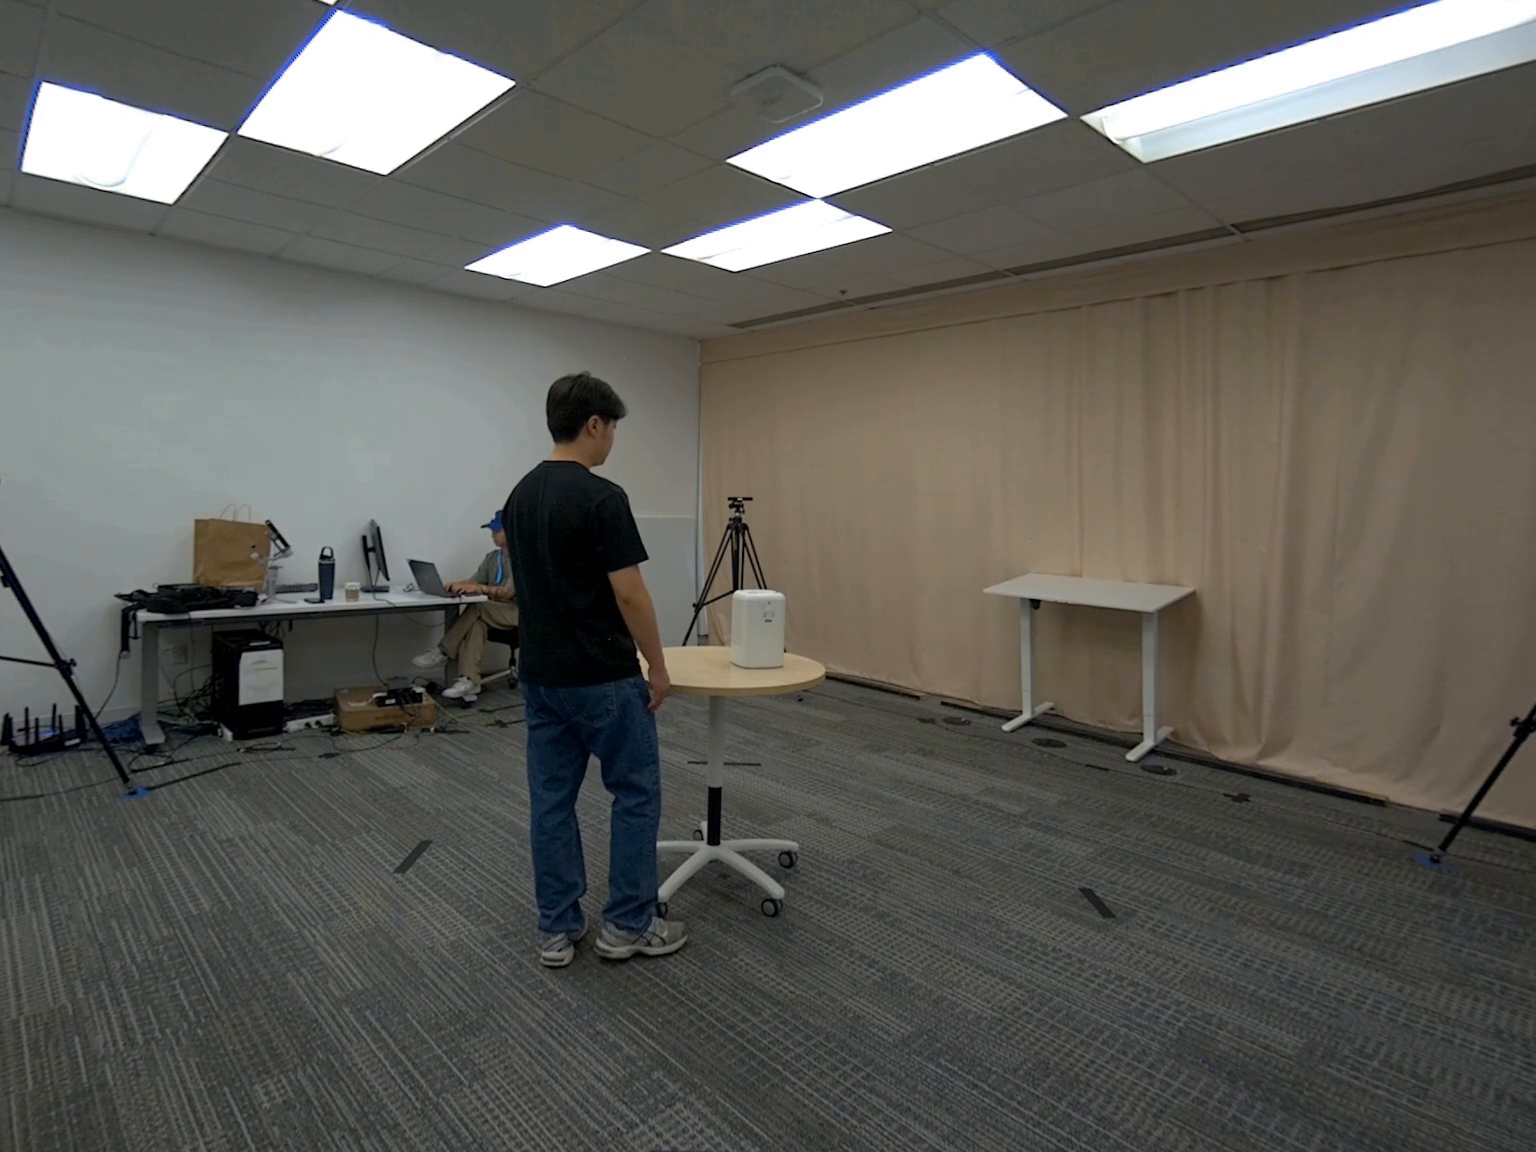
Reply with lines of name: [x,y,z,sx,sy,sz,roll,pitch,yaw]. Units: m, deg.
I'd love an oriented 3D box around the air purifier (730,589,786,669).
air purifier: [-0.046,0.186,3.041,0.168,0.264,0.175,-1,5,-24]
